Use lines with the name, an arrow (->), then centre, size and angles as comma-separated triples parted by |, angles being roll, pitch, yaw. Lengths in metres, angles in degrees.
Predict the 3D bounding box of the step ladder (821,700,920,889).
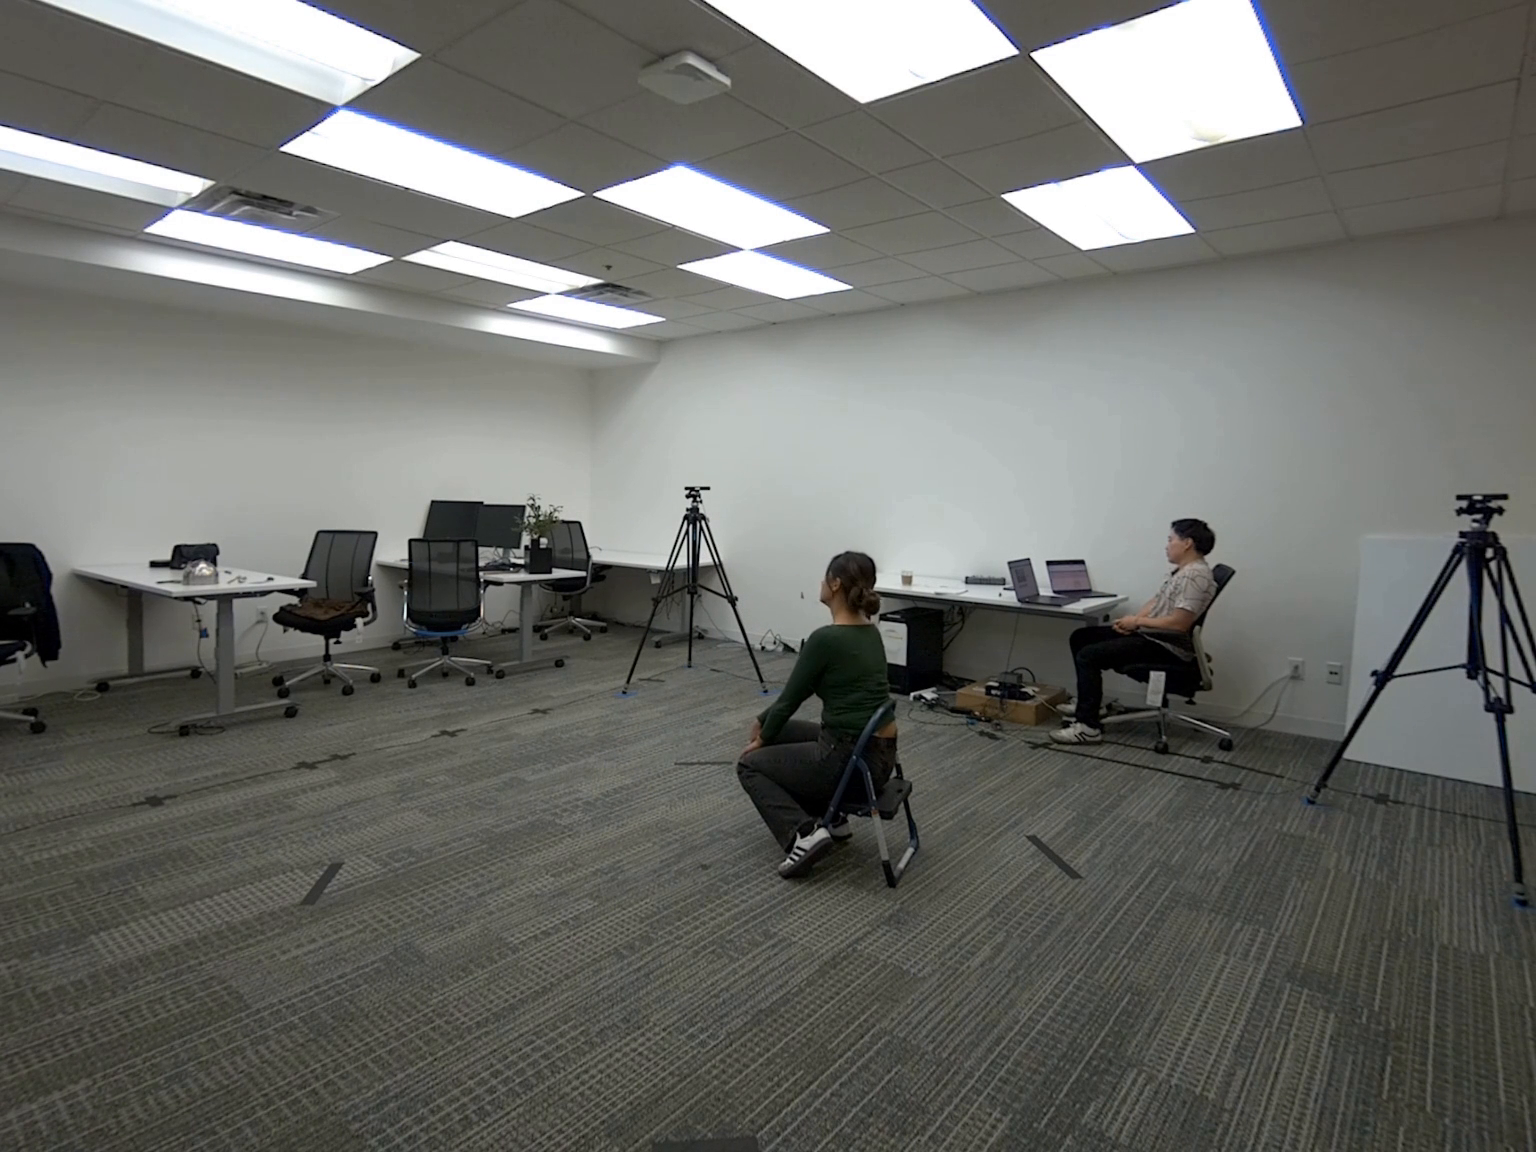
step ladder -> 0.365, 0.770, 3.212 | 0.358, 0.604, 0.422 | 3, 4, 23
